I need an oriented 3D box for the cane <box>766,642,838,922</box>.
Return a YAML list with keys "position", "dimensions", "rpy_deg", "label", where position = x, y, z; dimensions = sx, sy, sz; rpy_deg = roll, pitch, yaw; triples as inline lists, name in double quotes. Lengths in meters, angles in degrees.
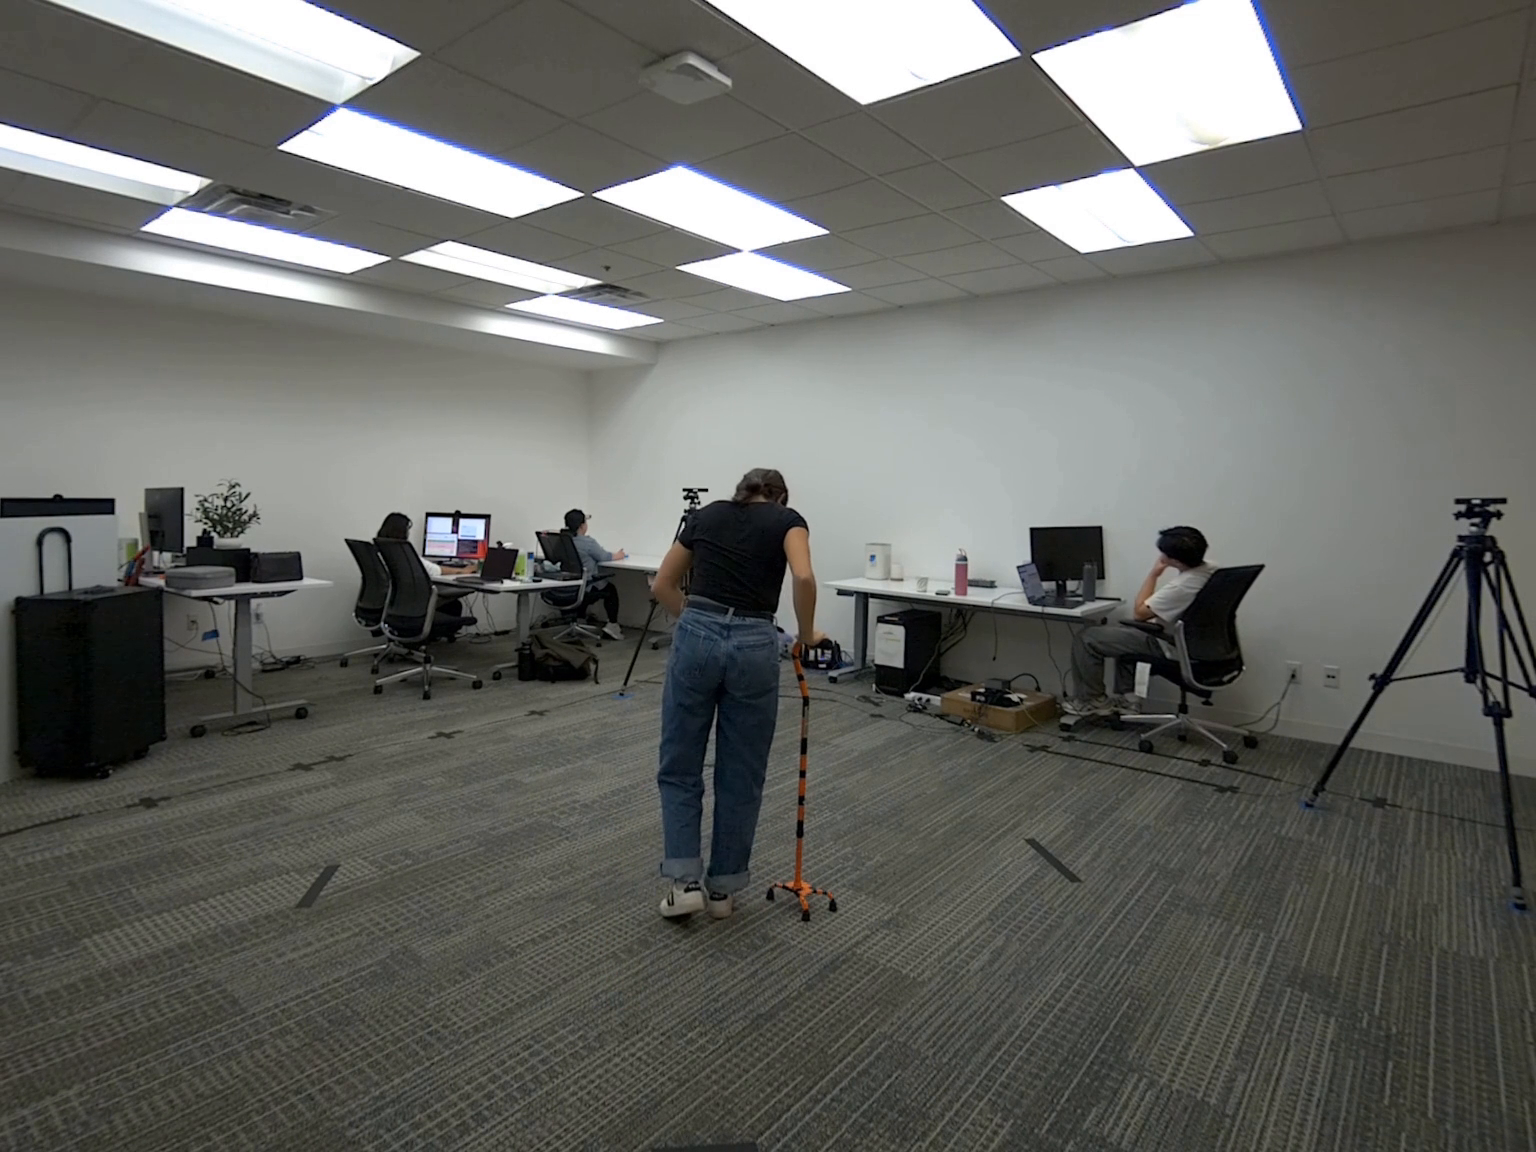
- position: [0.132, 0.646, 2.846]
  dimensions: [0.147, 0.906, 0.213]
  rpy_deg: [0, 3, -39]
  label: "cane"
